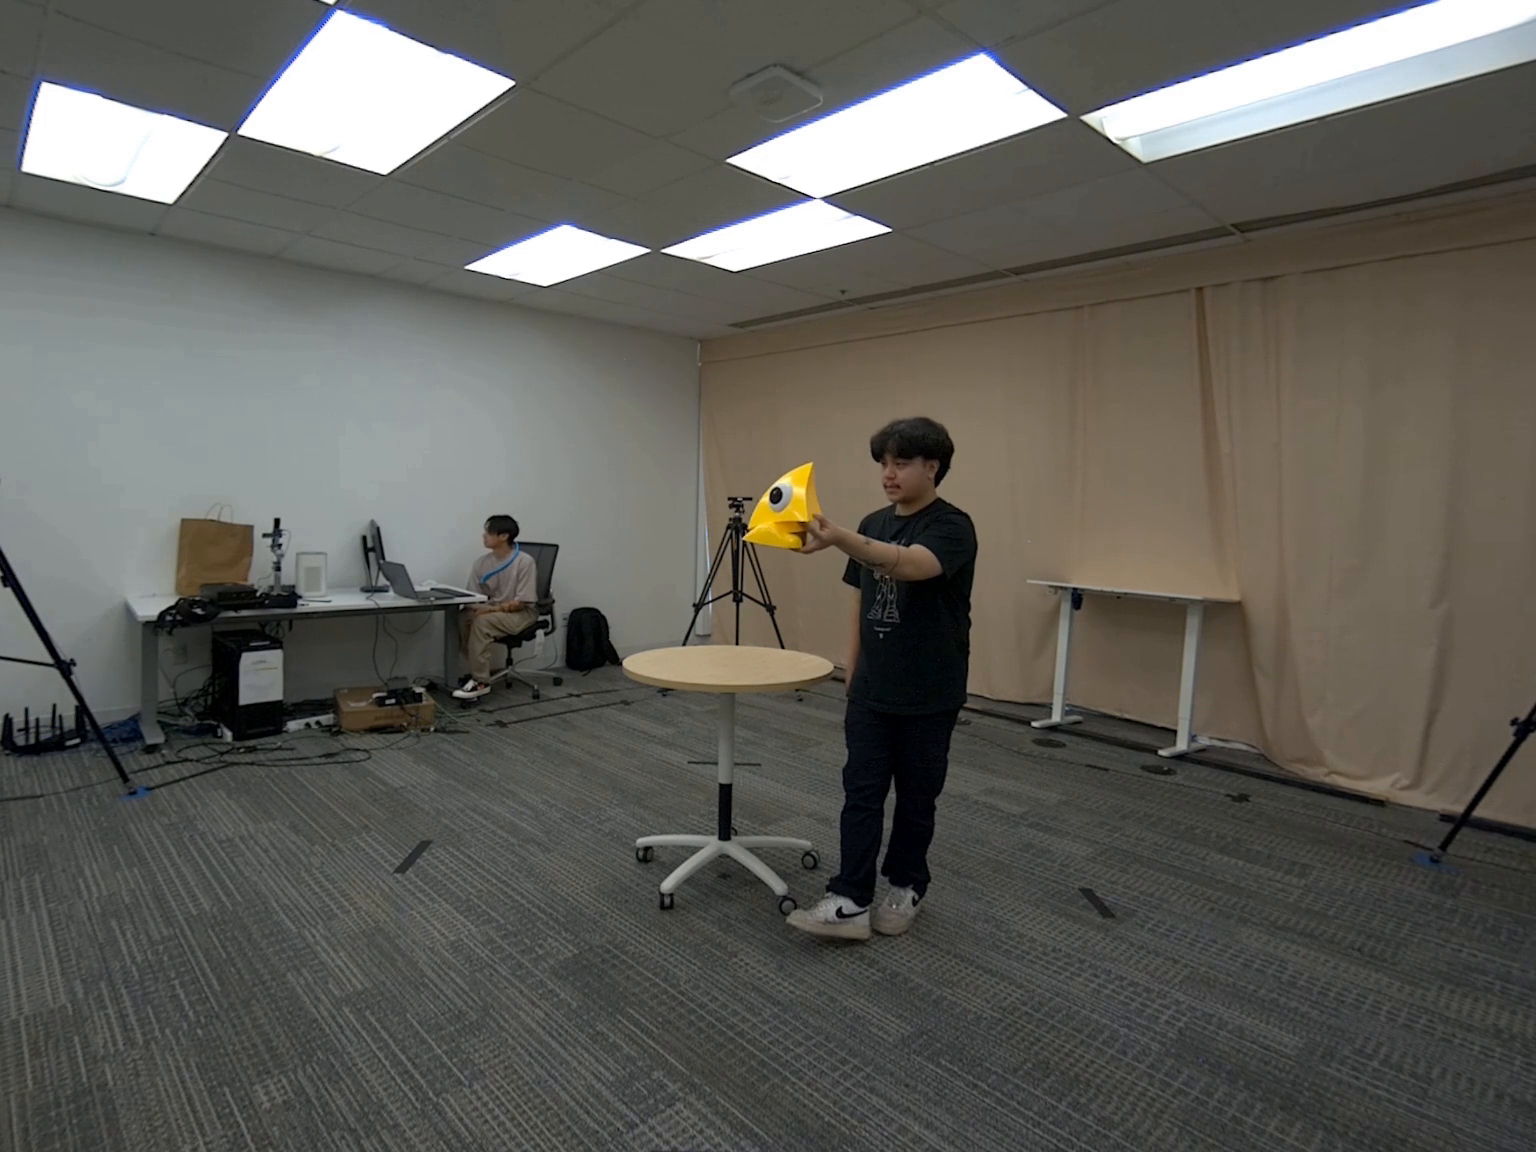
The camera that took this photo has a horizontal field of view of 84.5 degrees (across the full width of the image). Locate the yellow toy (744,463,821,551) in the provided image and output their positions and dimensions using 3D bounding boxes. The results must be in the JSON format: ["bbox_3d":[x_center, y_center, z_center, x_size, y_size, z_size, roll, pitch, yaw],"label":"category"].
[{"bbox_3d":[0.043,-0.204,2.302,0.196,0.229,0.203,10,8,15],"label":"yellow toy"}]
